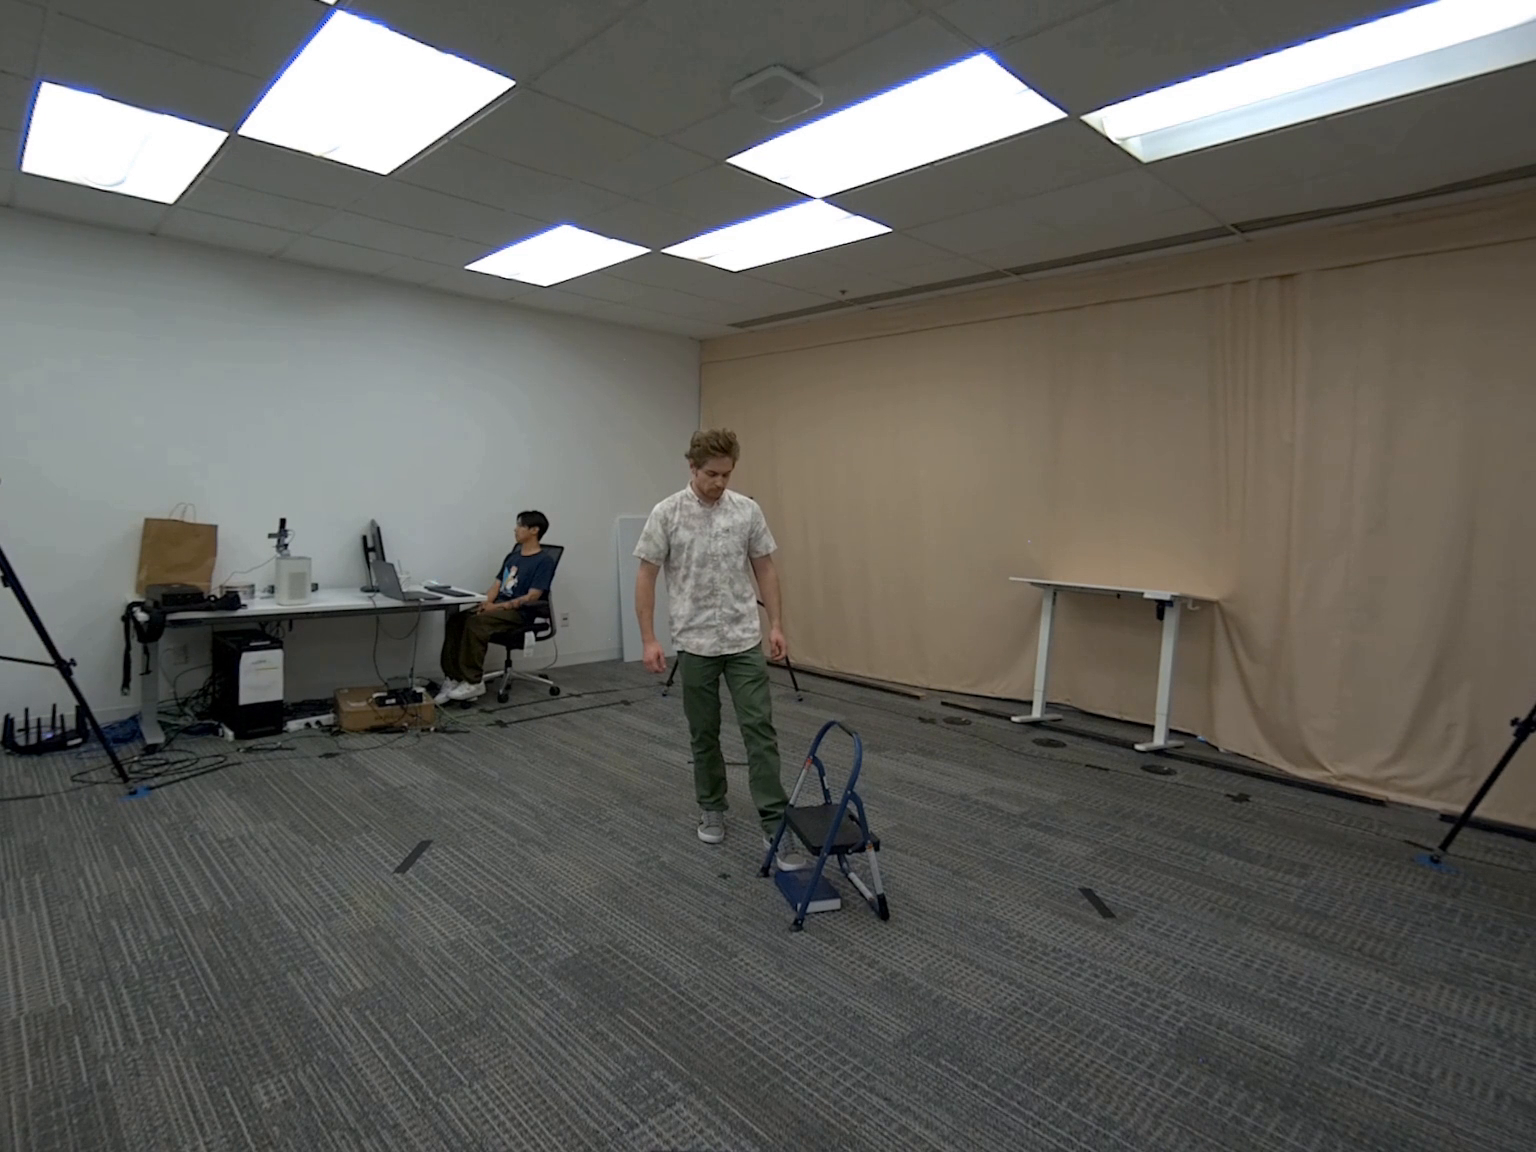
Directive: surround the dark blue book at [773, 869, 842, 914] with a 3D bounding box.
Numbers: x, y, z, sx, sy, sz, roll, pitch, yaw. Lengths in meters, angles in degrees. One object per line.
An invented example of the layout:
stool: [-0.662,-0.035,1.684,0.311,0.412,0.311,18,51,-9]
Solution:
dark blue book: [0.141,1.108,2.945,0.161,0.045,0.249,-1,4,-18]
